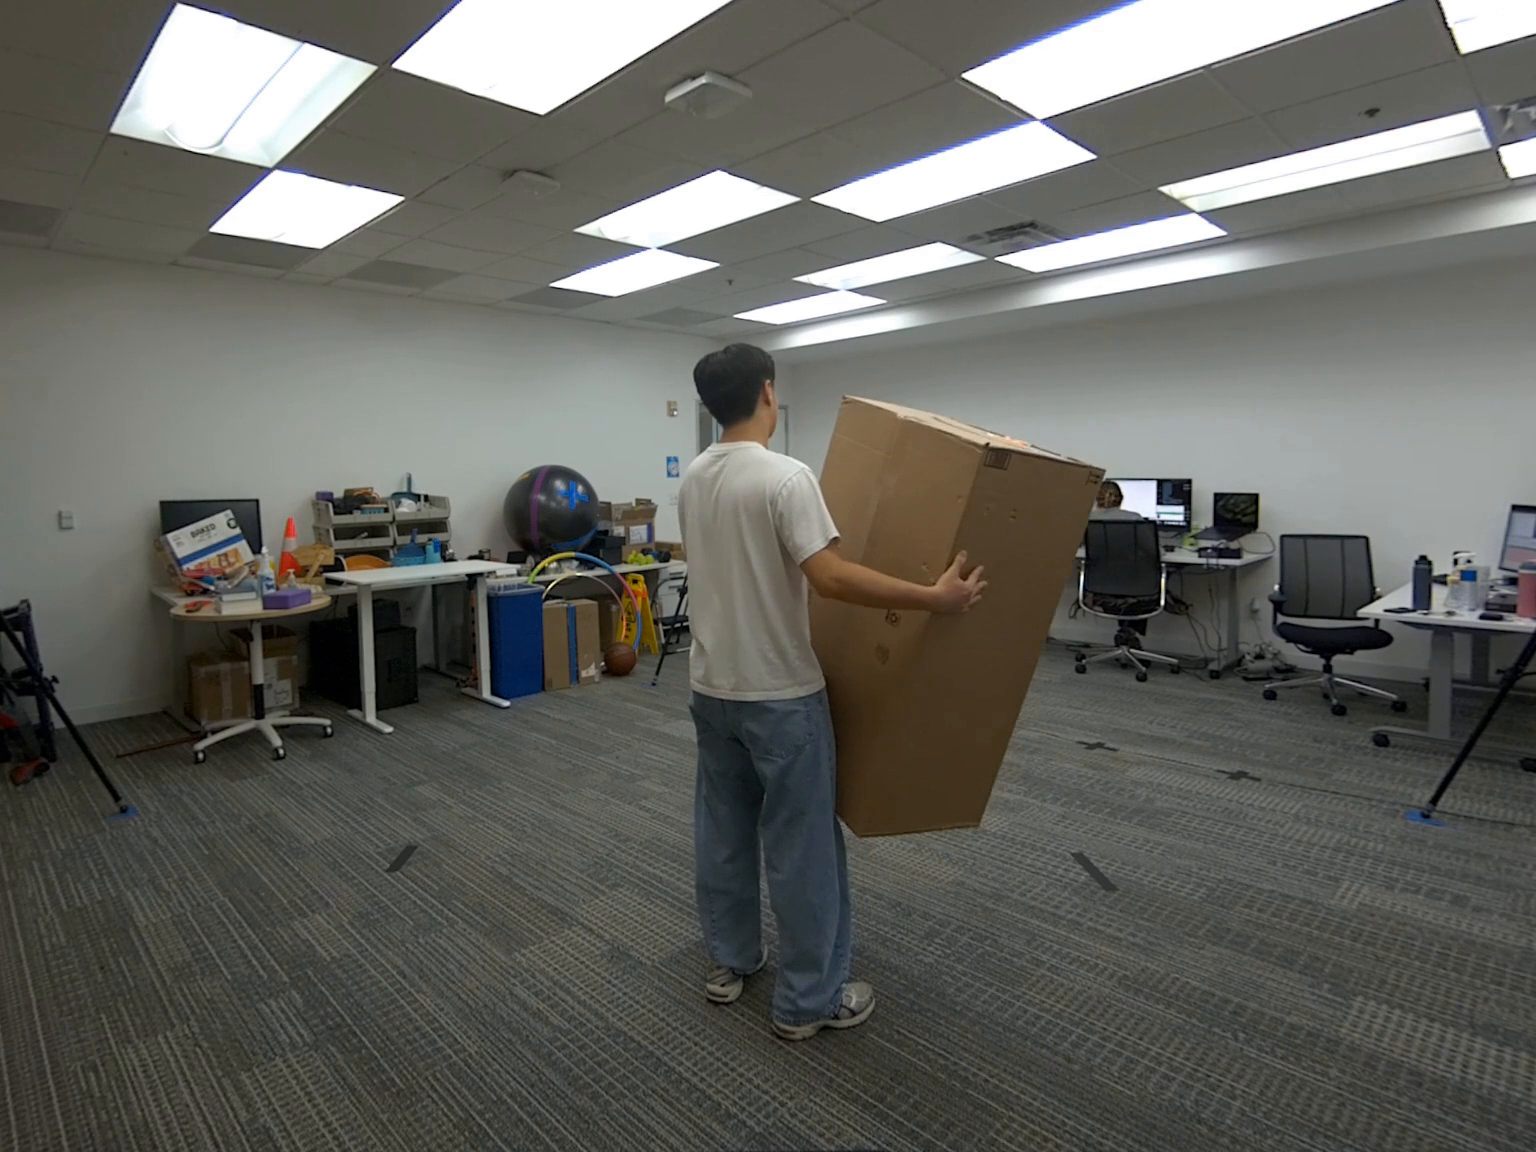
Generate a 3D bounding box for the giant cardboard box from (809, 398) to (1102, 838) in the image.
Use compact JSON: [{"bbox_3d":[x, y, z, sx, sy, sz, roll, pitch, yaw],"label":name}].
[{"bbox_3d":[0.398,0.091,2.361,0.414,1.017,0.599,7,15,-32],"label":"giant cardboard box"}]
